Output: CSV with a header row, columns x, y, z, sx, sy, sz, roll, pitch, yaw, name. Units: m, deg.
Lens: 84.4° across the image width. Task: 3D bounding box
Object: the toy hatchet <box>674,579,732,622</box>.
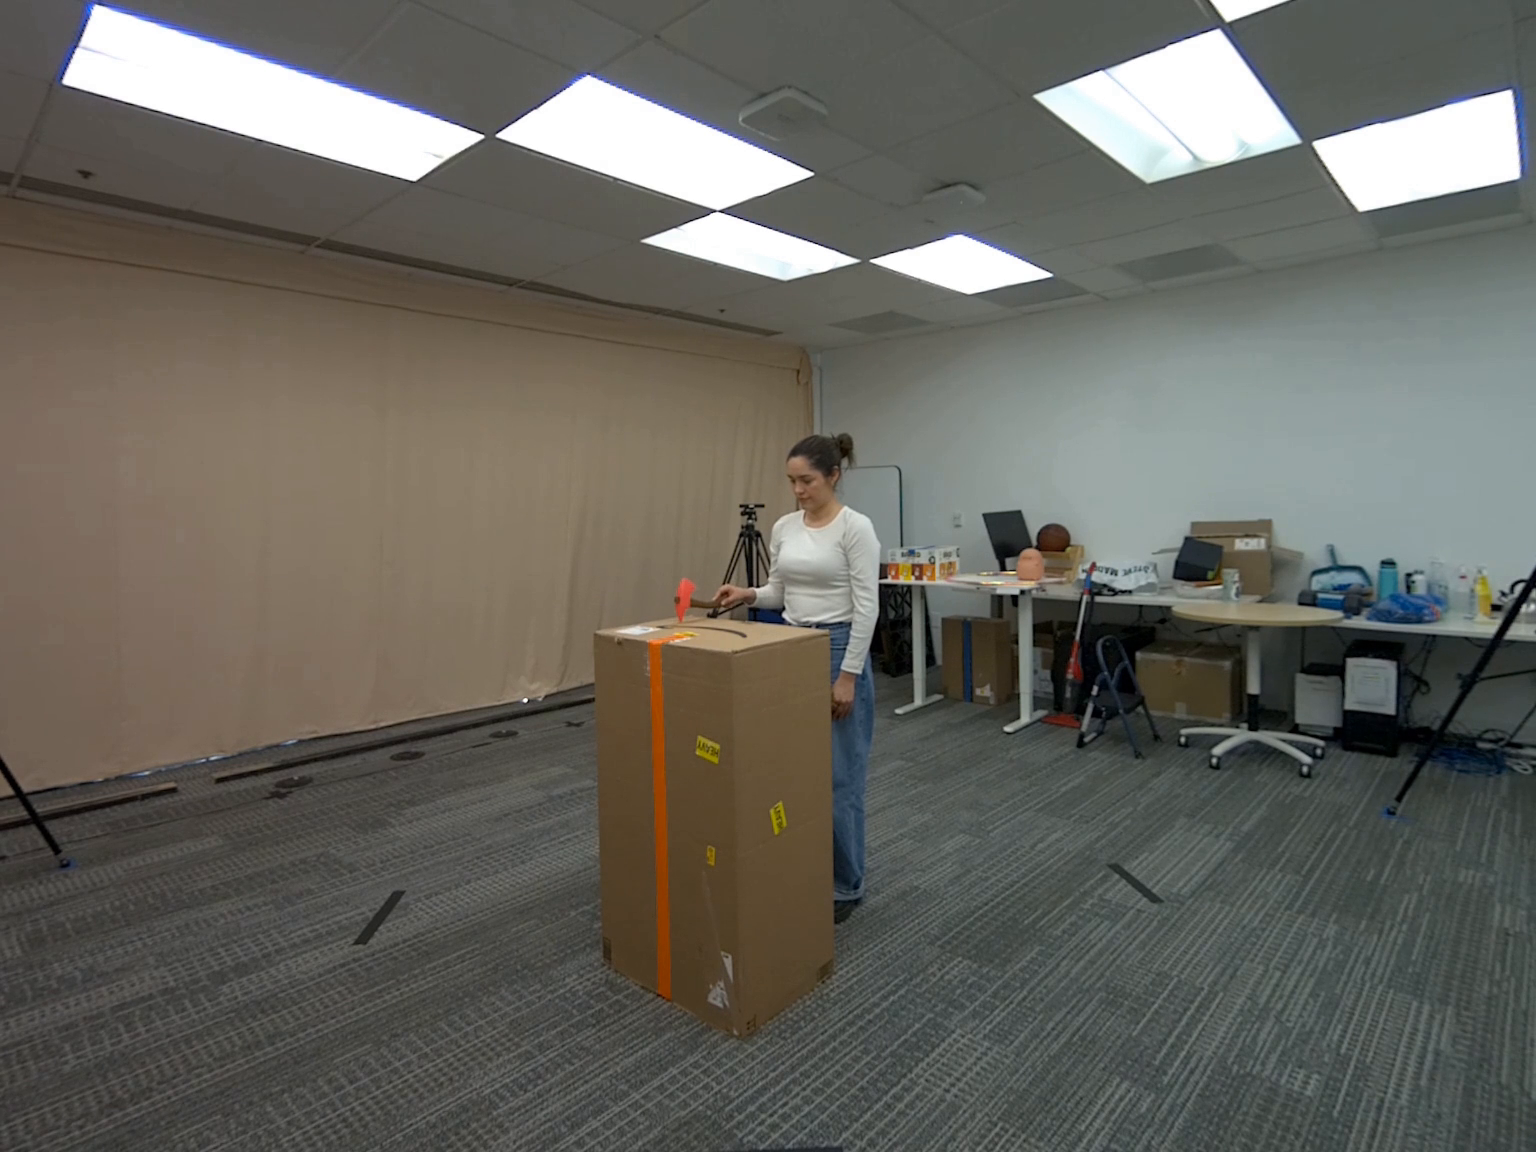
x,y,z,sx,sy,sz,roll,pitch,yaw,name
-0.206,0.056,2.735,0.030,0.131,0.263,-7,4,44,toy hatchet
